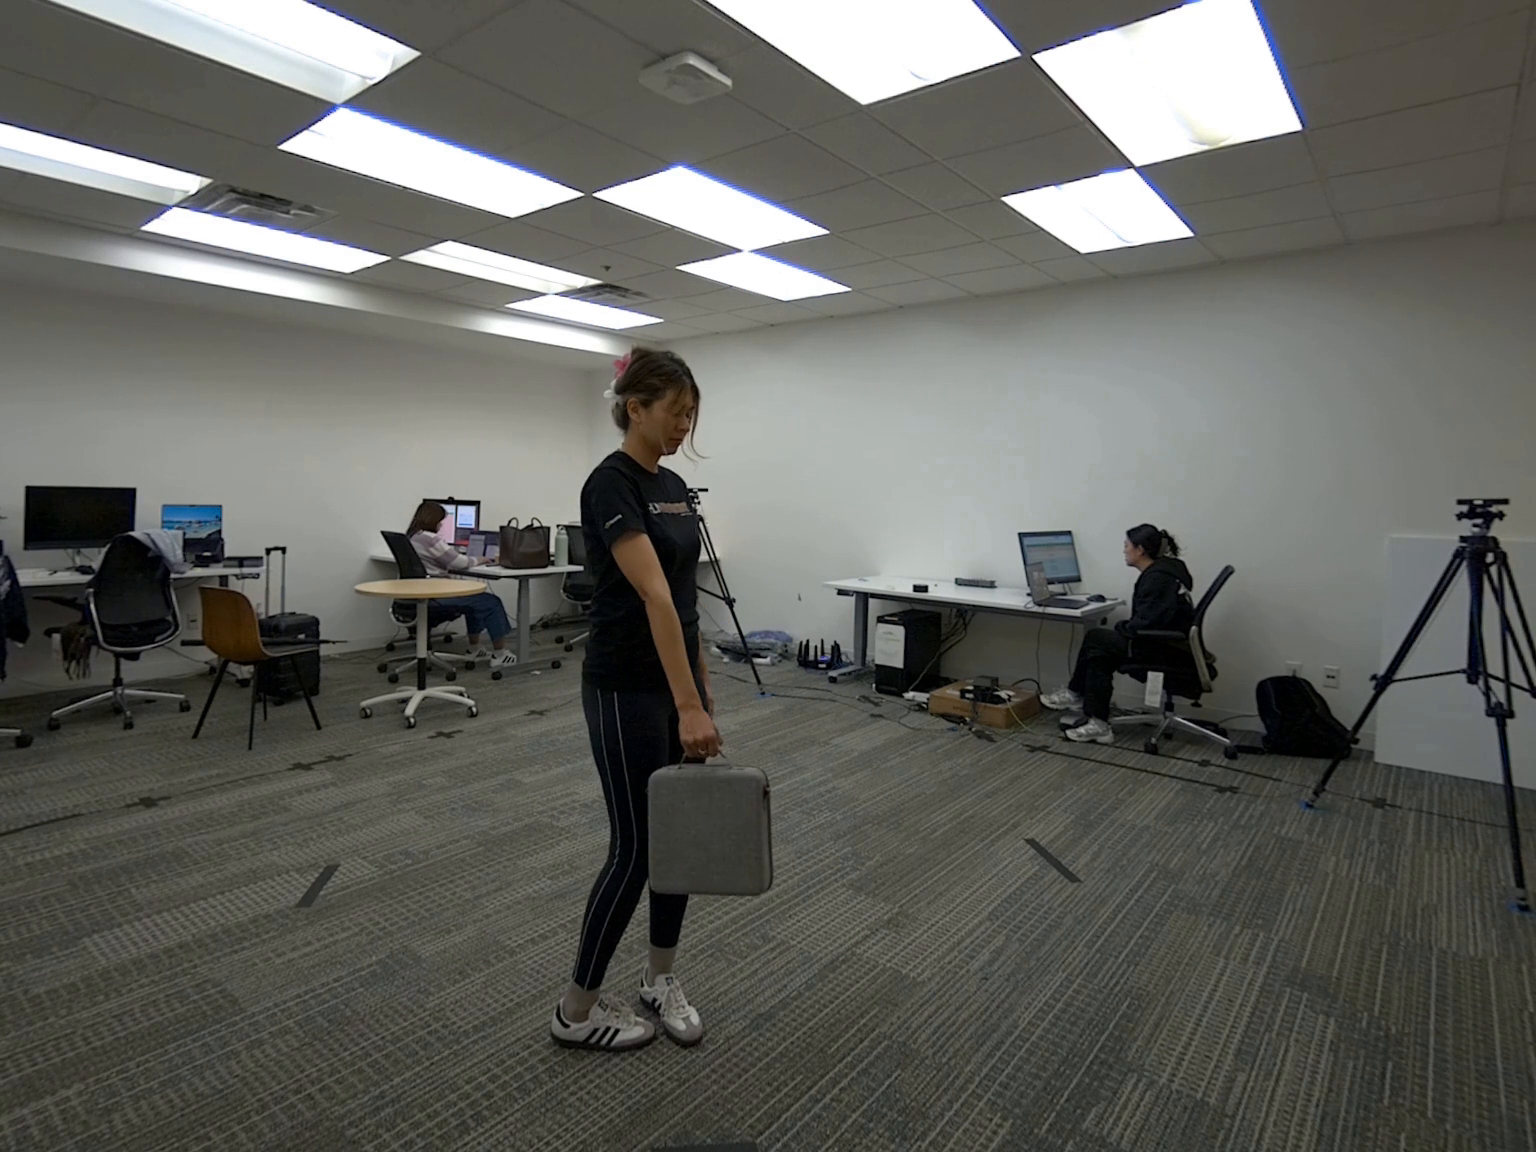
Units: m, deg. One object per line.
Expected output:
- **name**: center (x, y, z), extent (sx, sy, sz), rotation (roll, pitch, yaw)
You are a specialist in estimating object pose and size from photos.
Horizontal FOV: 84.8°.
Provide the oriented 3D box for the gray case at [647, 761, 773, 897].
- **gray case**: center (-0.124, 0.528, 1.792), extent (0.260, 0.263, 0.102), rotation (-4, -9, 13)
